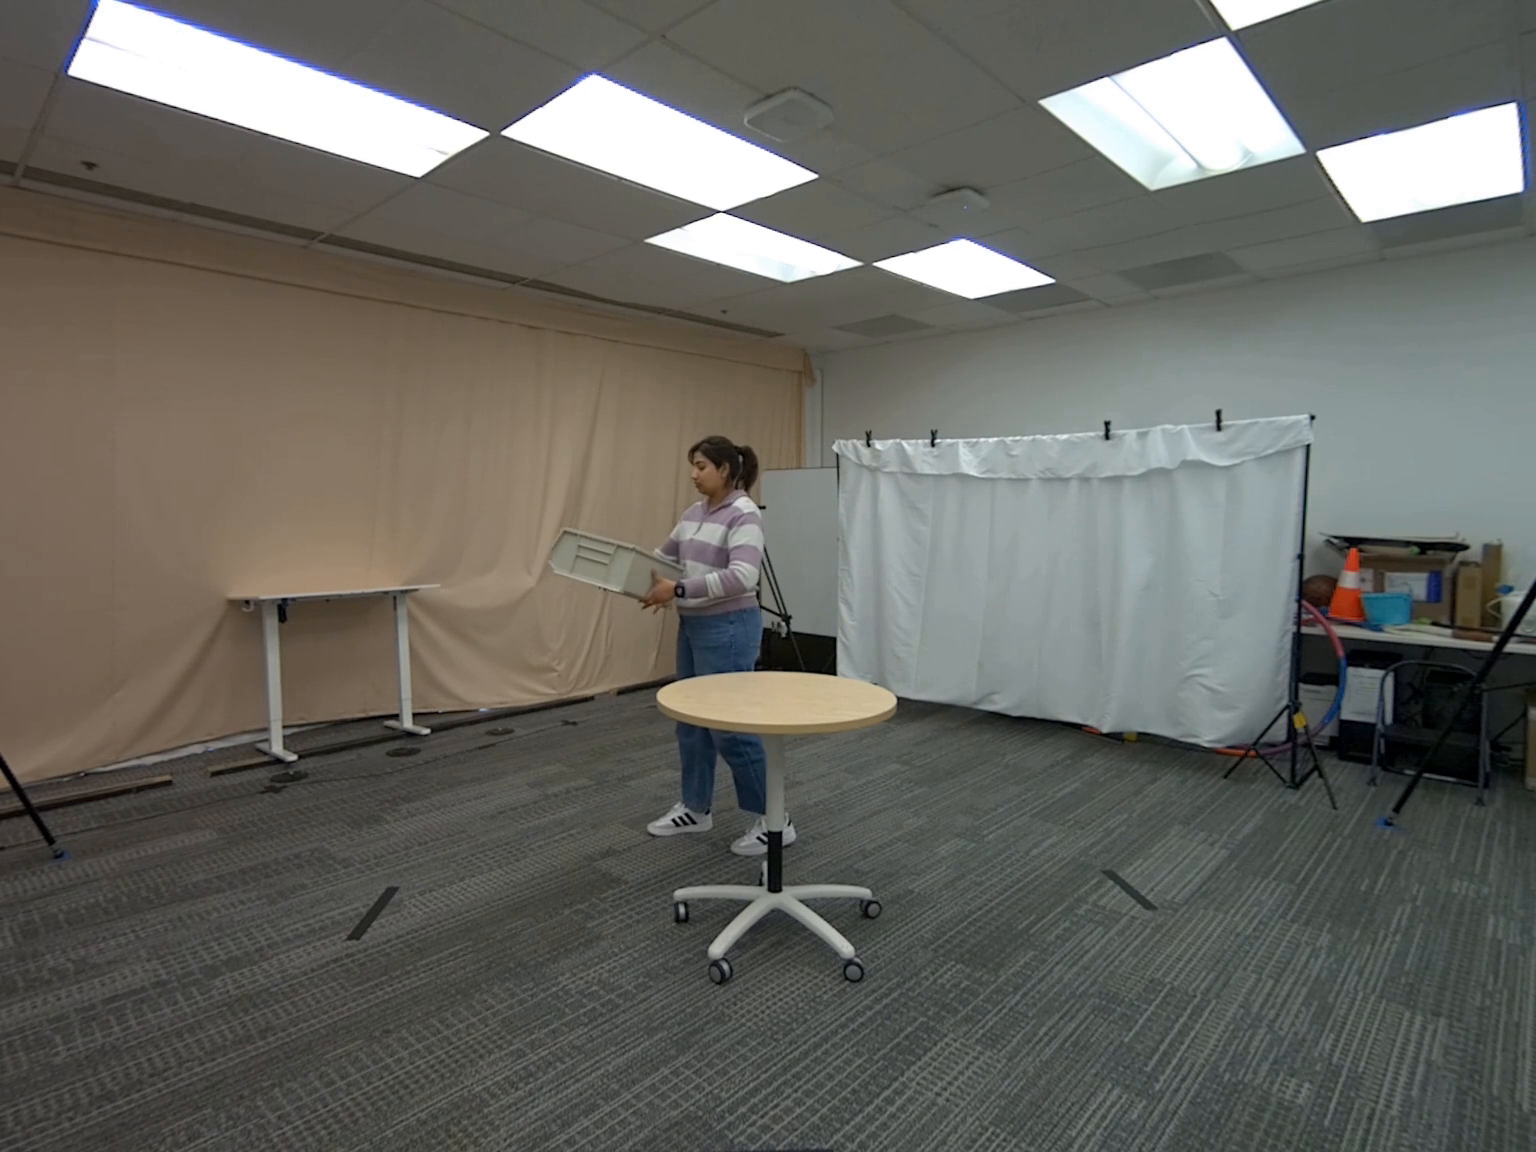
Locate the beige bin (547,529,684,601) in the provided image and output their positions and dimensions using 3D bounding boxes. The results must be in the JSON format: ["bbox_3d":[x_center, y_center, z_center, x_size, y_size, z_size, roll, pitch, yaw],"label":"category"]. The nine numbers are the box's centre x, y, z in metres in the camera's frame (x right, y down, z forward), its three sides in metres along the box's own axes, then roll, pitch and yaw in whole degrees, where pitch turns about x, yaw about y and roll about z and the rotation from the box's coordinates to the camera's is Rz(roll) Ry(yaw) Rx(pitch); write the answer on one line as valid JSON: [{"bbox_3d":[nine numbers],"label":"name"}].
[{"bbox_3d":[-0.596,-0.024,3.327,0.389,0.189,0.409,16,-4,26],"label":"beige bin"}]
